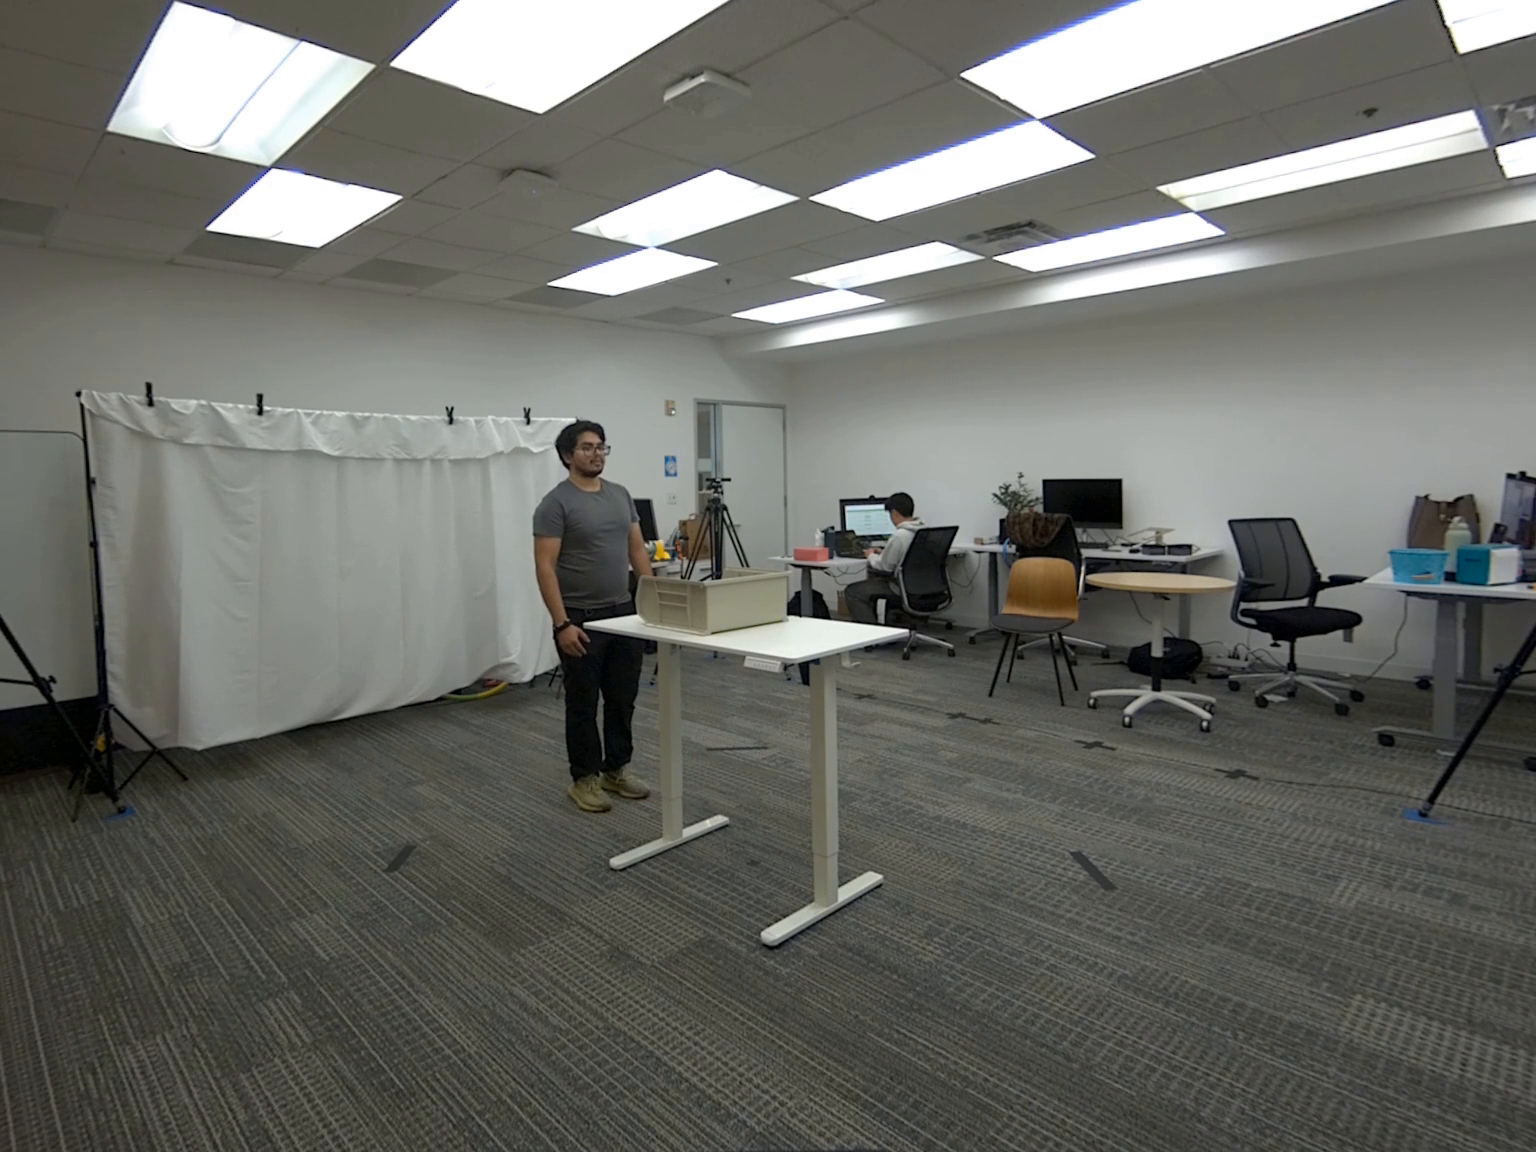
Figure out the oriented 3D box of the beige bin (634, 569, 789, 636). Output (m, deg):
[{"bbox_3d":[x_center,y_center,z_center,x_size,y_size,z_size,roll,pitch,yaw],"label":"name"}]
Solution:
[{"bbox_3d":[-0.196,0.083,3.045,0.411,0.188,0.389,-6,9,-44],"label":"beige bin"}]
